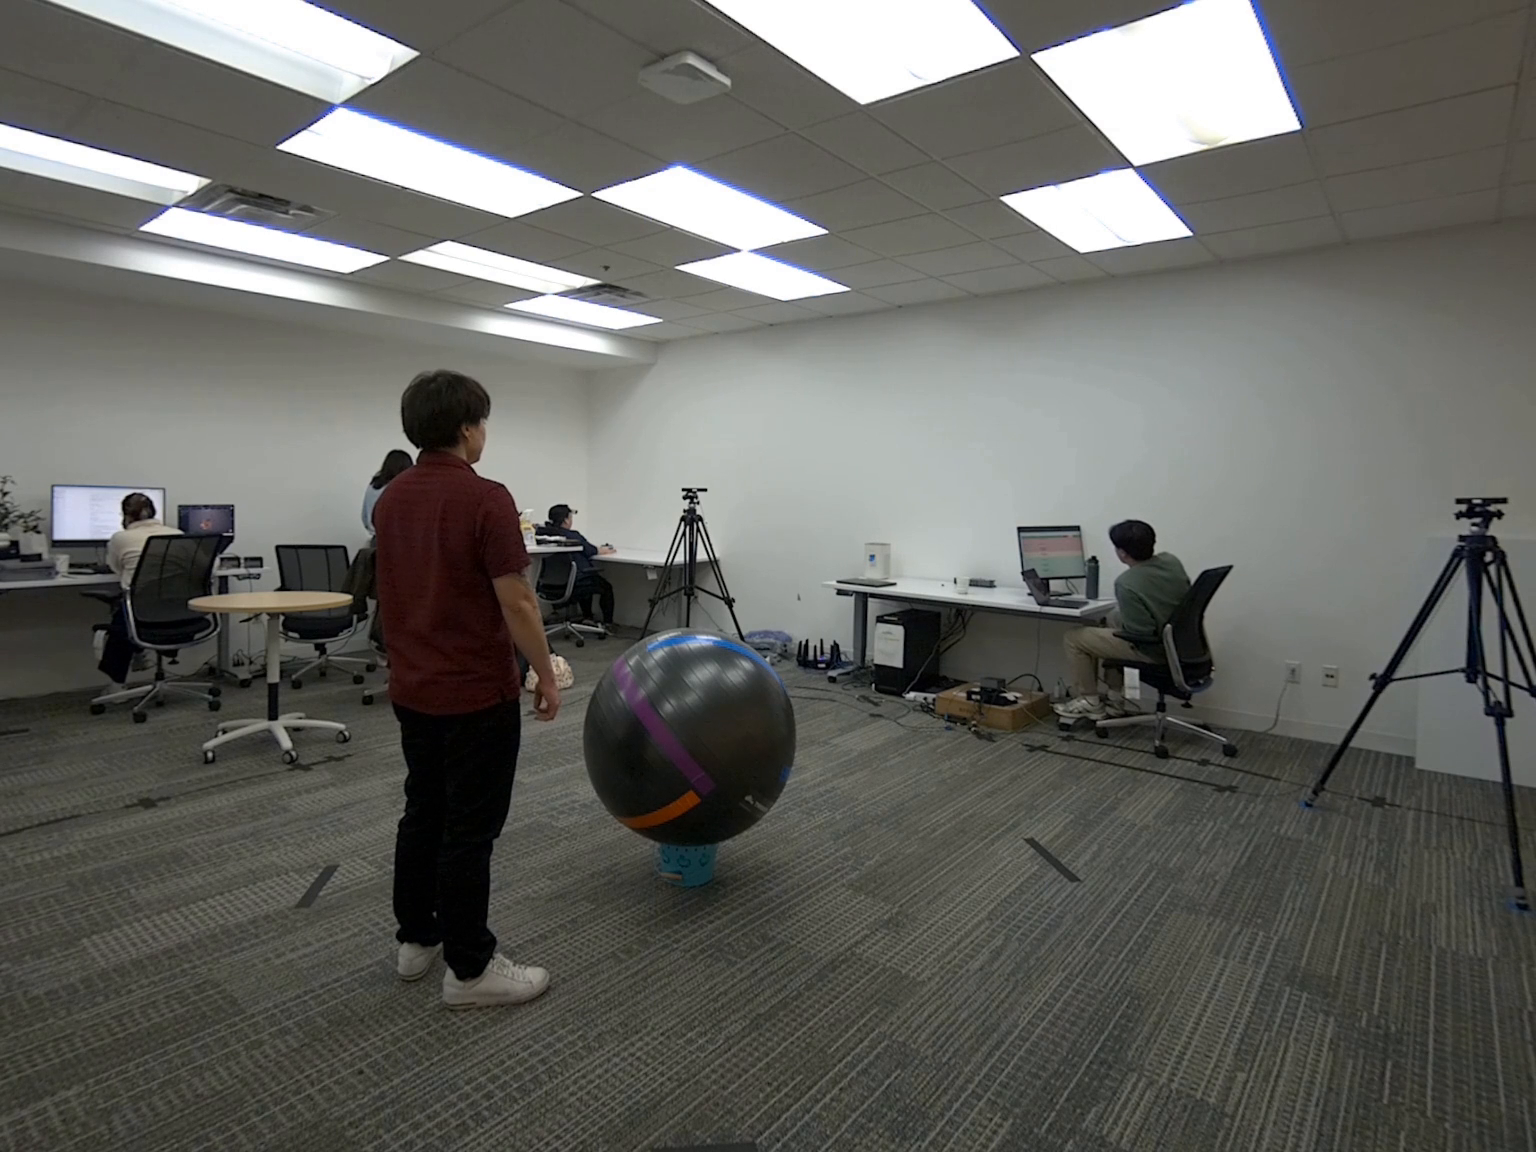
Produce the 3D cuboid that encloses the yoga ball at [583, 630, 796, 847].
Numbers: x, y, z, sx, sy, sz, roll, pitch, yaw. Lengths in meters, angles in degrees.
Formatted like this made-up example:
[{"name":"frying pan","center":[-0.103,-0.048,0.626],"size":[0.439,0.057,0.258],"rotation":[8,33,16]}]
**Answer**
[{"name":"yoga ball","center":[-0.283,0.561,3.033],"size":[0.757,0.756,0.761],"rotation":[1,4,-2]}]
